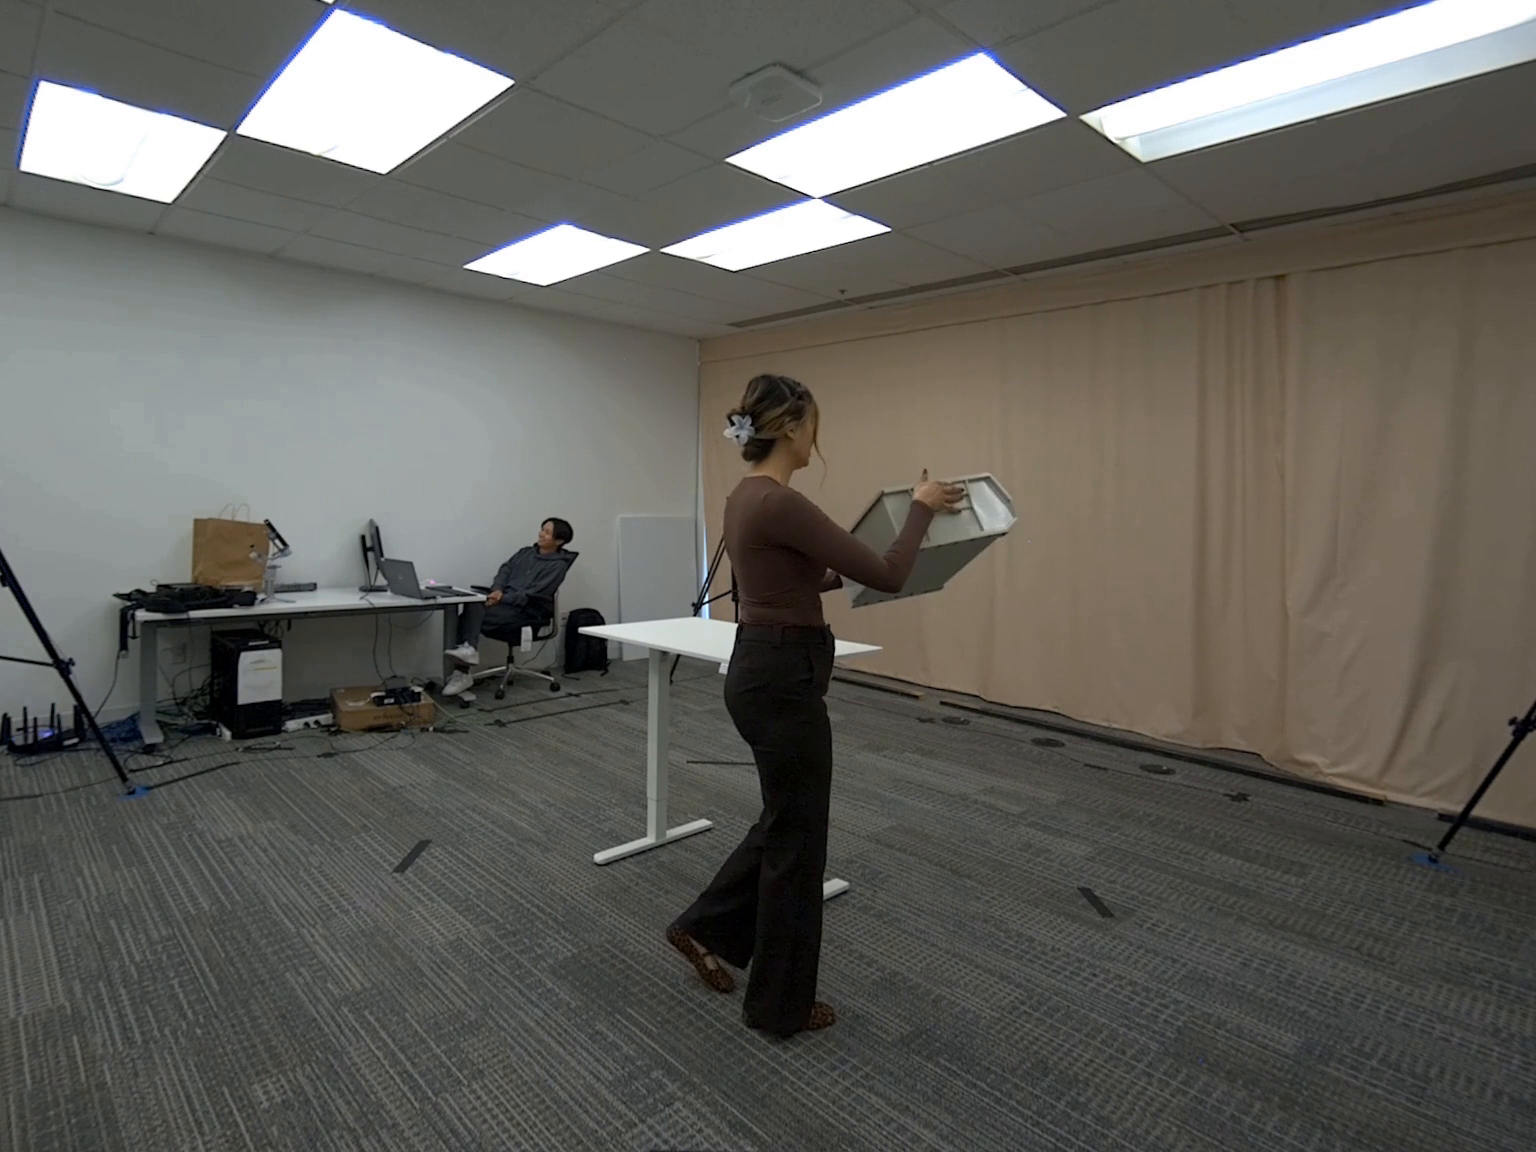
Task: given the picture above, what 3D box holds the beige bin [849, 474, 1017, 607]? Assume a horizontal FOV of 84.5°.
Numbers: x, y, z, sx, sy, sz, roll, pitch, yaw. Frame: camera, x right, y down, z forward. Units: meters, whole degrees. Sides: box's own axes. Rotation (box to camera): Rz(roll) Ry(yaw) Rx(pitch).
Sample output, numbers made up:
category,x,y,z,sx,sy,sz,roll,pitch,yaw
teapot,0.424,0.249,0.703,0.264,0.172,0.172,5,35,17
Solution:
category,x,y,z,sx,sy,sz,roll,pitch,yaw
beige bin,0.425,-0.090,2.391,0.372,0.192,0.420,-10,-21,-20
